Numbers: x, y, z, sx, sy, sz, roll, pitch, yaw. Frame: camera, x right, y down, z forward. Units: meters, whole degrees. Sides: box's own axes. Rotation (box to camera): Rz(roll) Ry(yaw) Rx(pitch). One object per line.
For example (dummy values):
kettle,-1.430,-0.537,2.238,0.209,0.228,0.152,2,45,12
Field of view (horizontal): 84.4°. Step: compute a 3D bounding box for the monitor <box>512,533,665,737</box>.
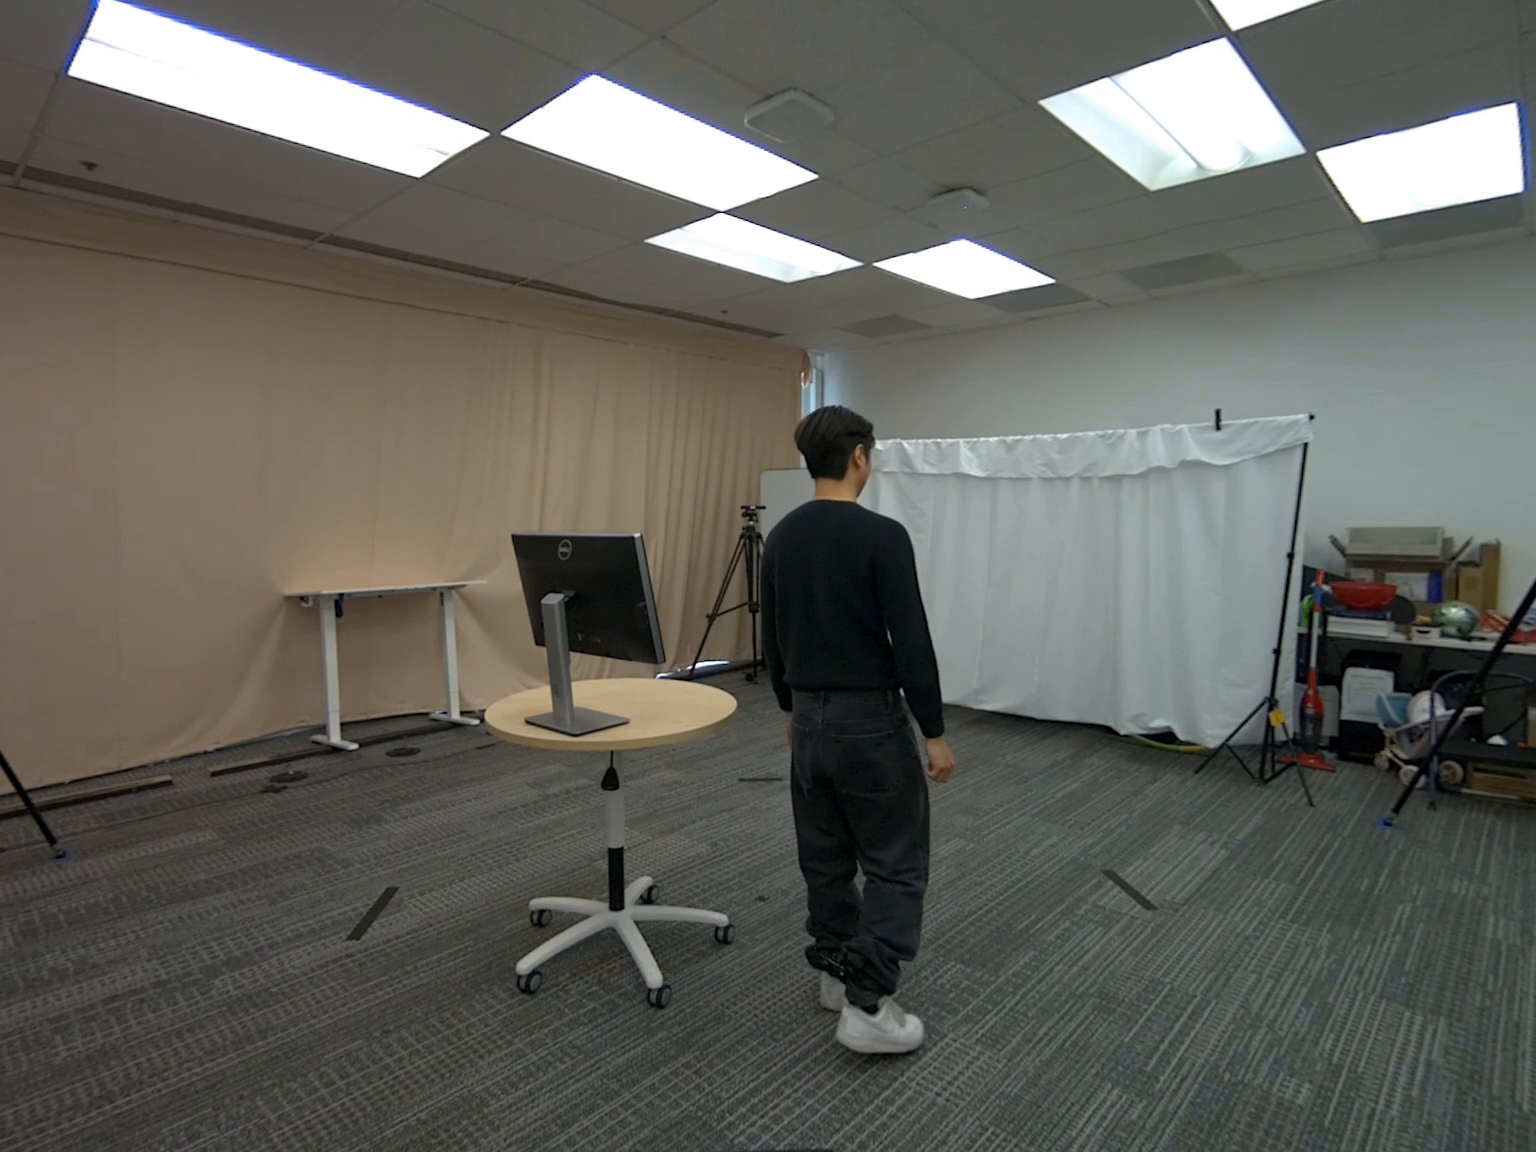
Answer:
monitor,-0.550,0.152,2.377,0.557,0.521,0.181,3,4,40
